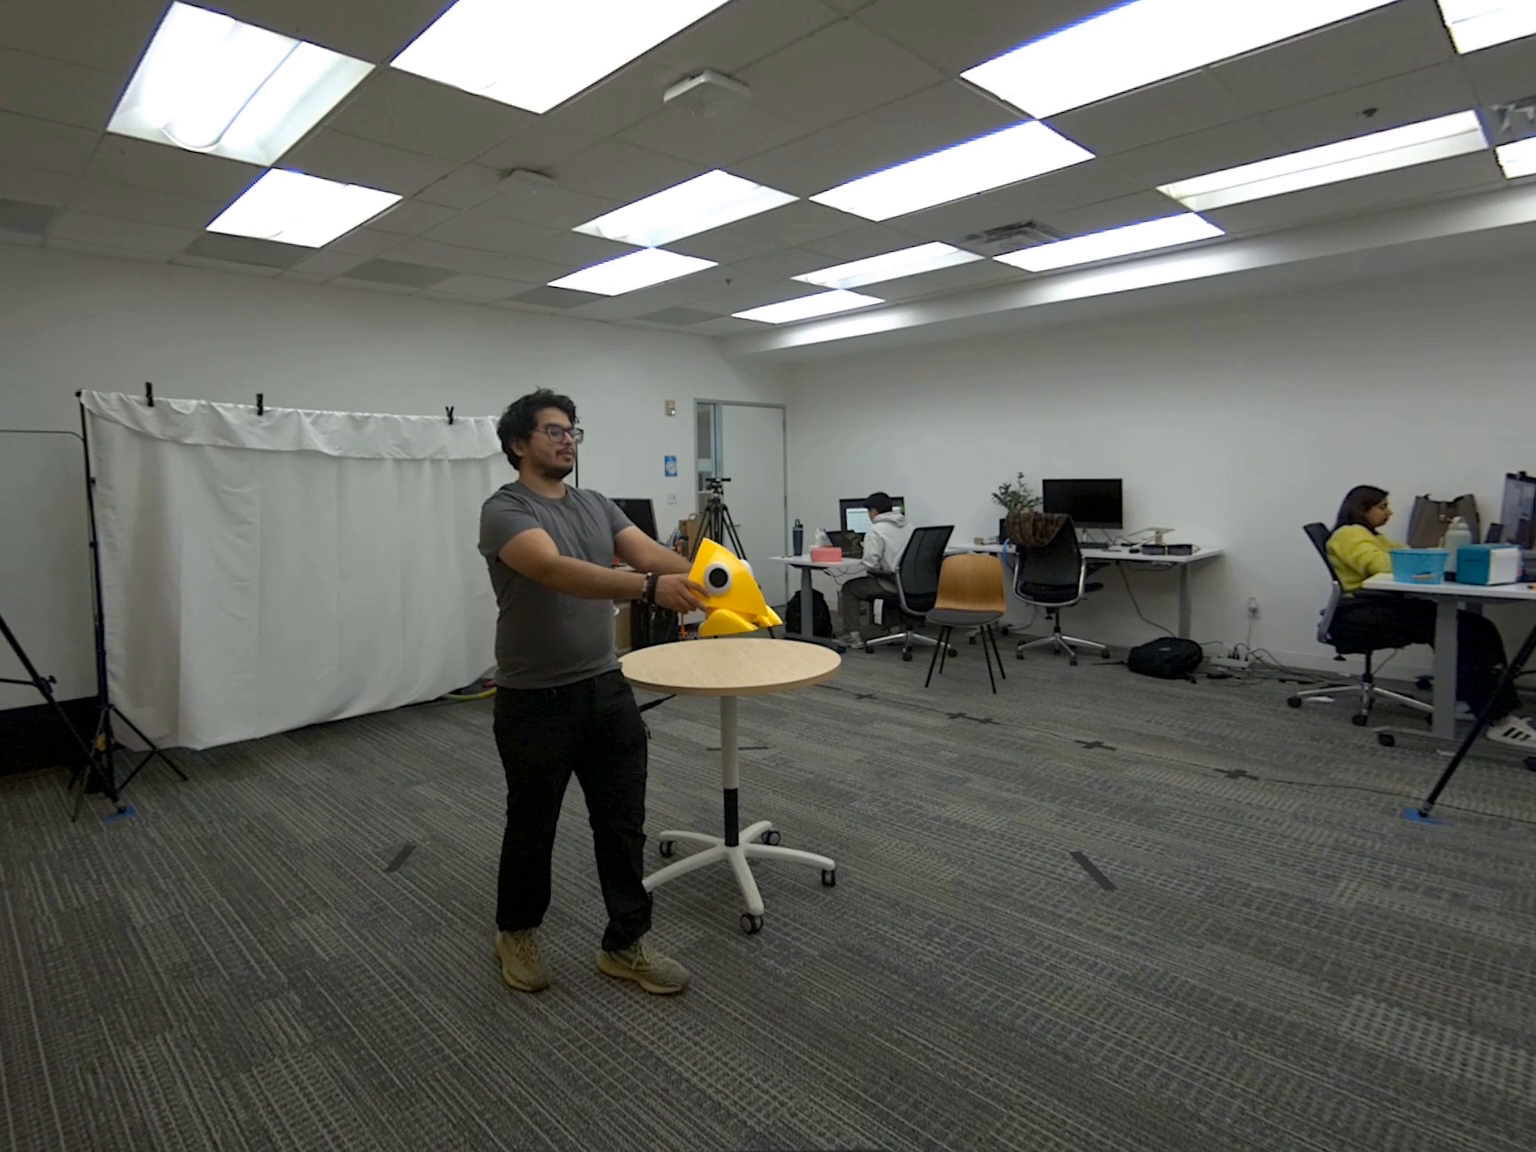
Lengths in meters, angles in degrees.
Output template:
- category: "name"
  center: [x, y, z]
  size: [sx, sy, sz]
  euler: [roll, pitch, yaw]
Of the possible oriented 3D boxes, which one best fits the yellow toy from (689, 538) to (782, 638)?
- category: "yellow toy"
  center: [-0.086, 0.013, 2.054]
  size: [0.197, 0.231, 0.199]
  euler: [-8, -3, 34]
